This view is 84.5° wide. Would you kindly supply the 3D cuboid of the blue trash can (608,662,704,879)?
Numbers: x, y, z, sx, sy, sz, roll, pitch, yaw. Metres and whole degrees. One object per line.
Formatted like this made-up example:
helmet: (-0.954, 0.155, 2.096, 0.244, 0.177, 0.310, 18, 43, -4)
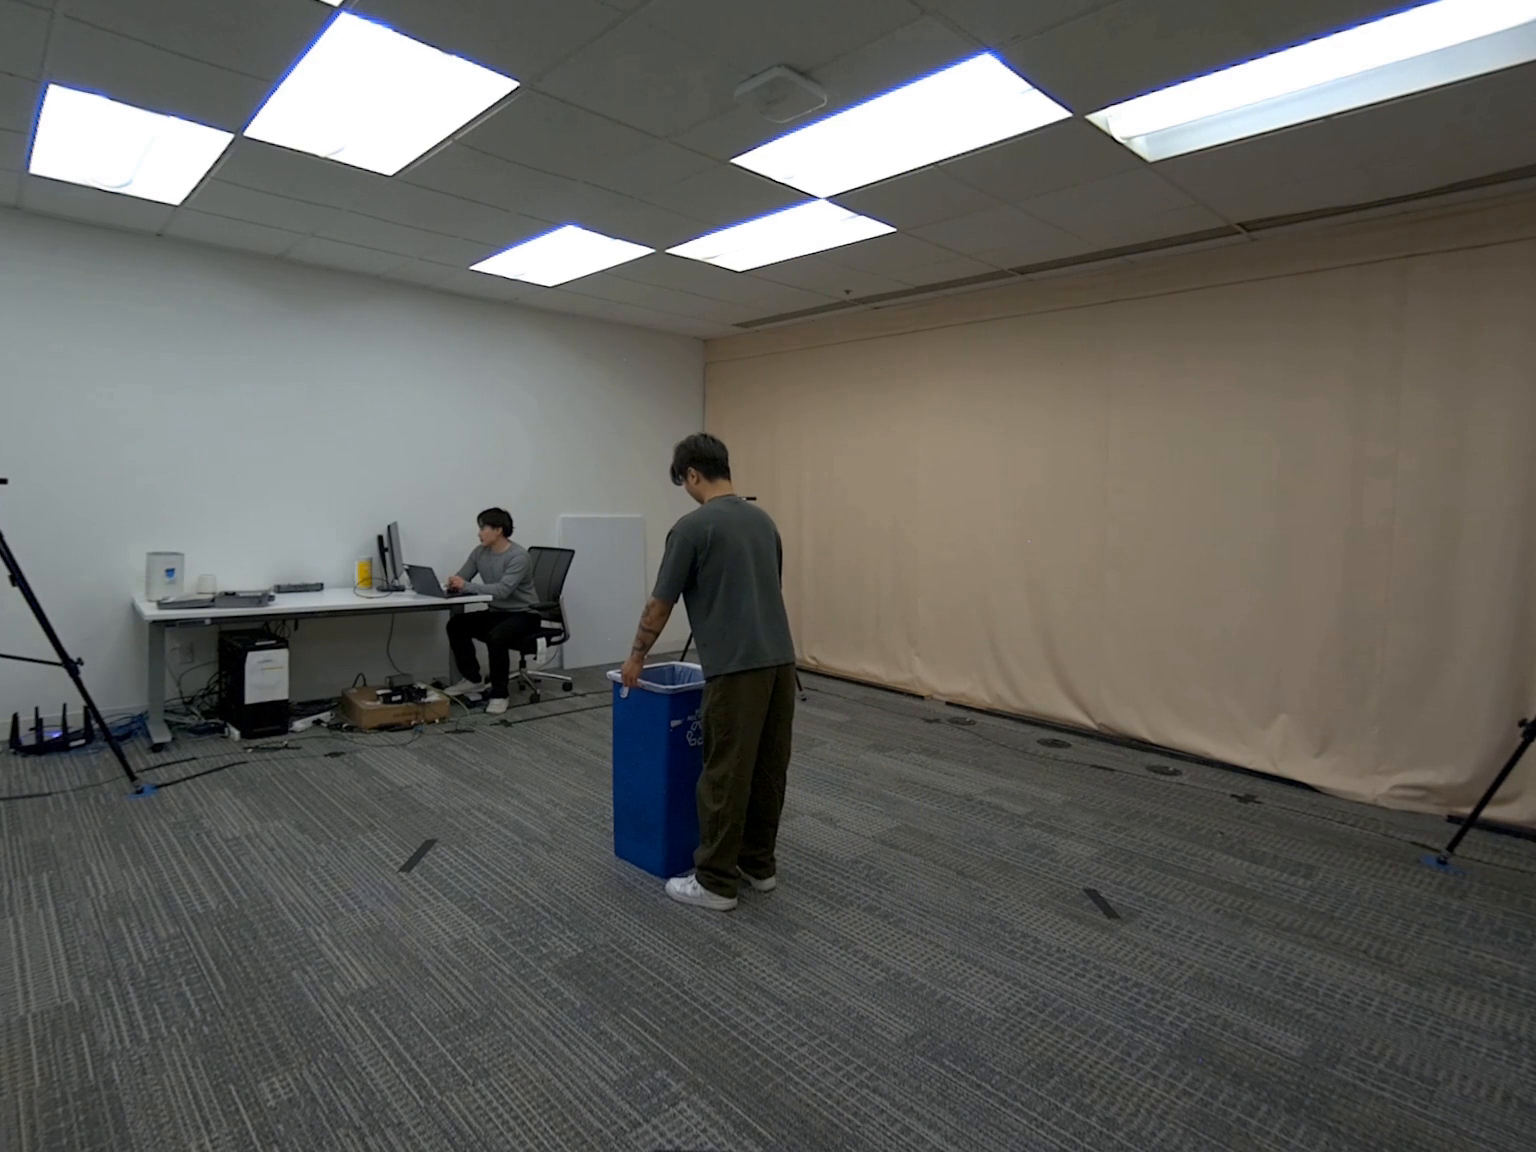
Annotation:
blue trash can: (-0.395, 0.731, 3.255, 0.384, 0.712, 0.369, 6, 4, 42)
